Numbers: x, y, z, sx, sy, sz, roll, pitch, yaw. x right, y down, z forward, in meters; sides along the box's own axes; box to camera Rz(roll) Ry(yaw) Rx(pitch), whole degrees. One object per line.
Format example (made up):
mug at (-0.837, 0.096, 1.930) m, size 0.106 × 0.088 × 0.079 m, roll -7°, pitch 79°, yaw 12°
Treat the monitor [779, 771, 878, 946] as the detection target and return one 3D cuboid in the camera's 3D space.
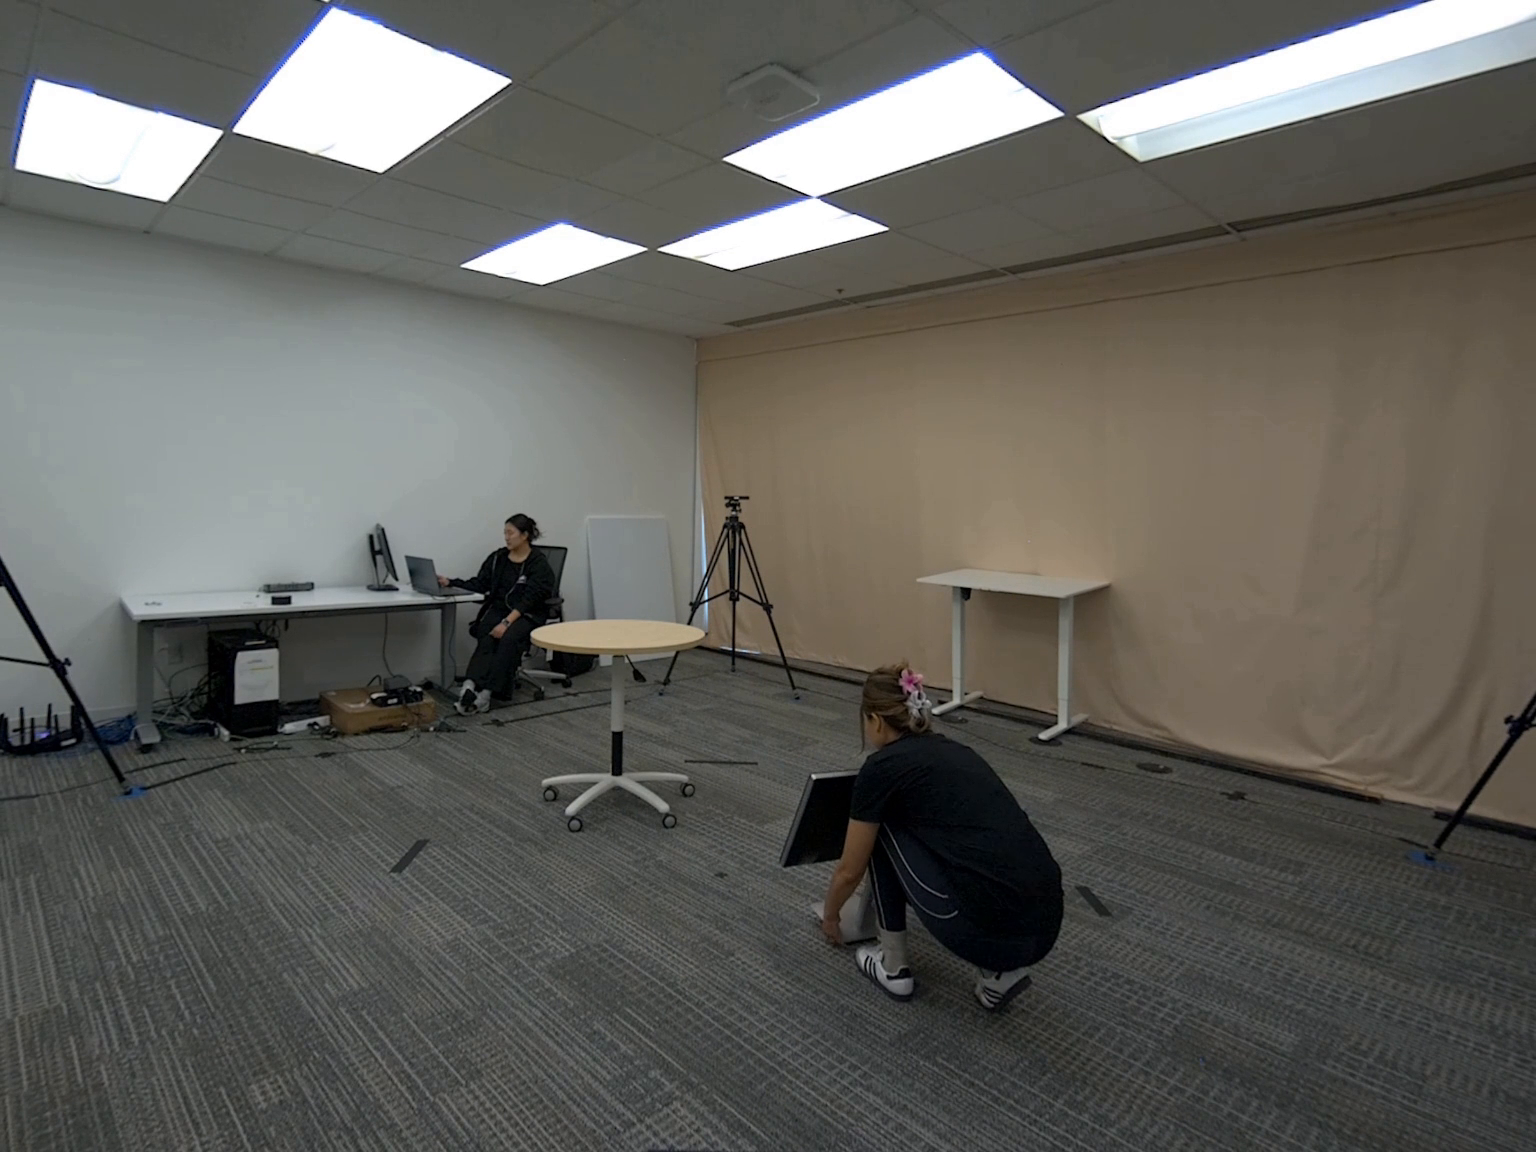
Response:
monitor at (0.327, 0.864, 2.708) m, size 0.528 × 0.519 × 0.192 m, roll 2°, pitch 13°, yaw -29°
